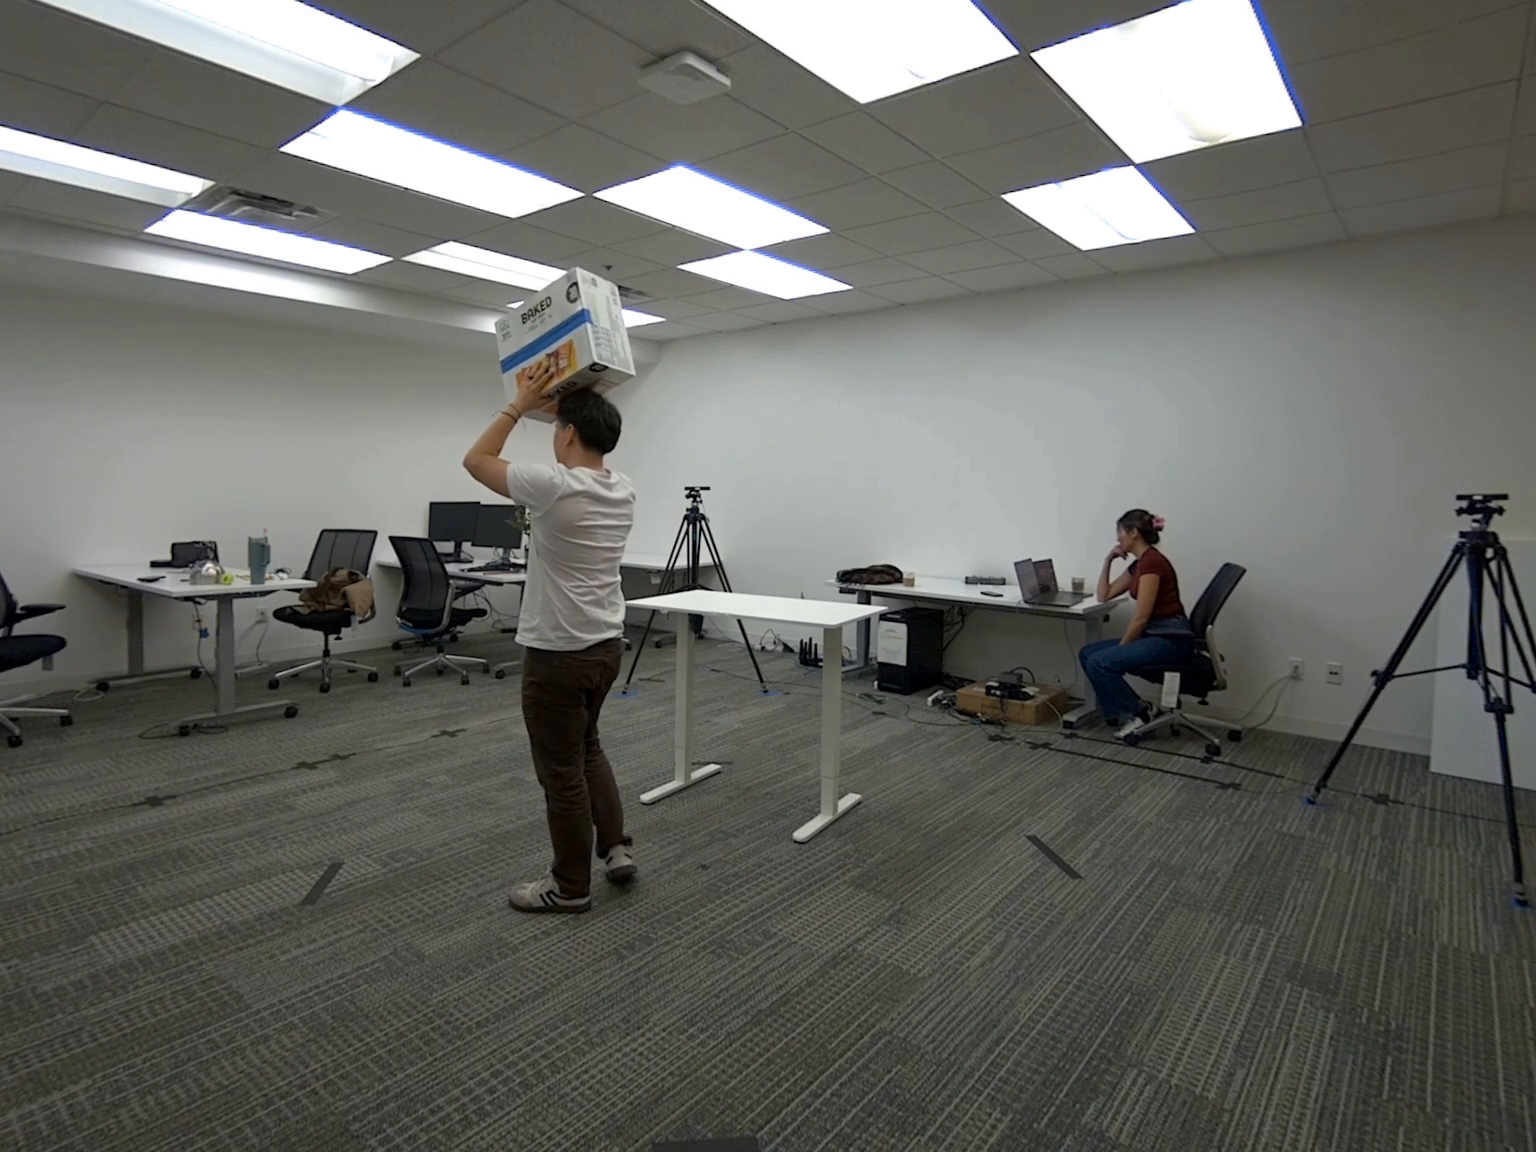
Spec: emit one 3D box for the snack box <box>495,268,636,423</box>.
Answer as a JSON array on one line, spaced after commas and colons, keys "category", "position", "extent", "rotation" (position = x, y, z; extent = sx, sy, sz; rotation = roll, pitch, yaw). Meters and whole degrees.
[{"category": "snack box", "position": [-0.692, -0.760, 2.837], "extent": [0.412, 0.346, 0.199], "rotation": [-20, -15, 30]}]
